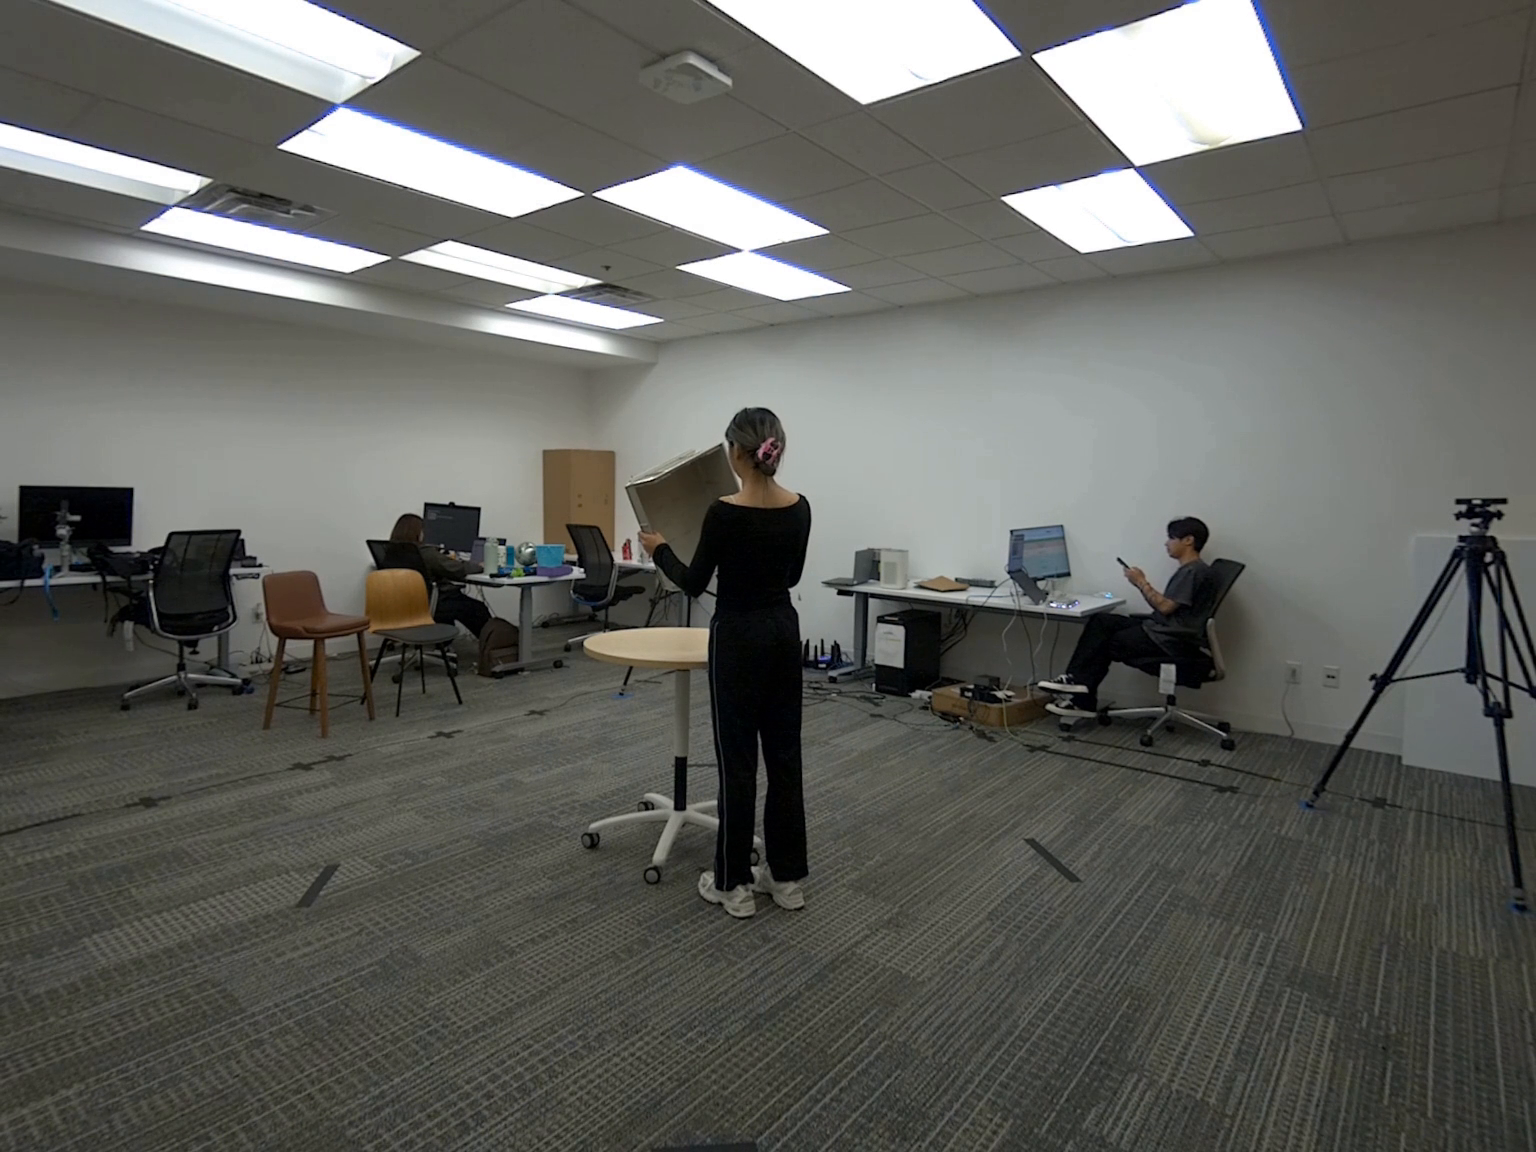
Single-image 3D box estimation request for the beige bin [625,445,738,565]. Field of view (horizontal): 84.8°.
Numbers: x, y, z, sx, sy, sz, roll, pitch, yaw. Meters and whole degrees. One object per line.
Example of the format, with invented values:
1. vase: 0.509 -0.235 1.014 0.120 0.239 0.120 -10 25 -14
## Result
1. beige bin: -0.284 -0.215 3.095 0.373 0.414 0.195 -34 19 -36
